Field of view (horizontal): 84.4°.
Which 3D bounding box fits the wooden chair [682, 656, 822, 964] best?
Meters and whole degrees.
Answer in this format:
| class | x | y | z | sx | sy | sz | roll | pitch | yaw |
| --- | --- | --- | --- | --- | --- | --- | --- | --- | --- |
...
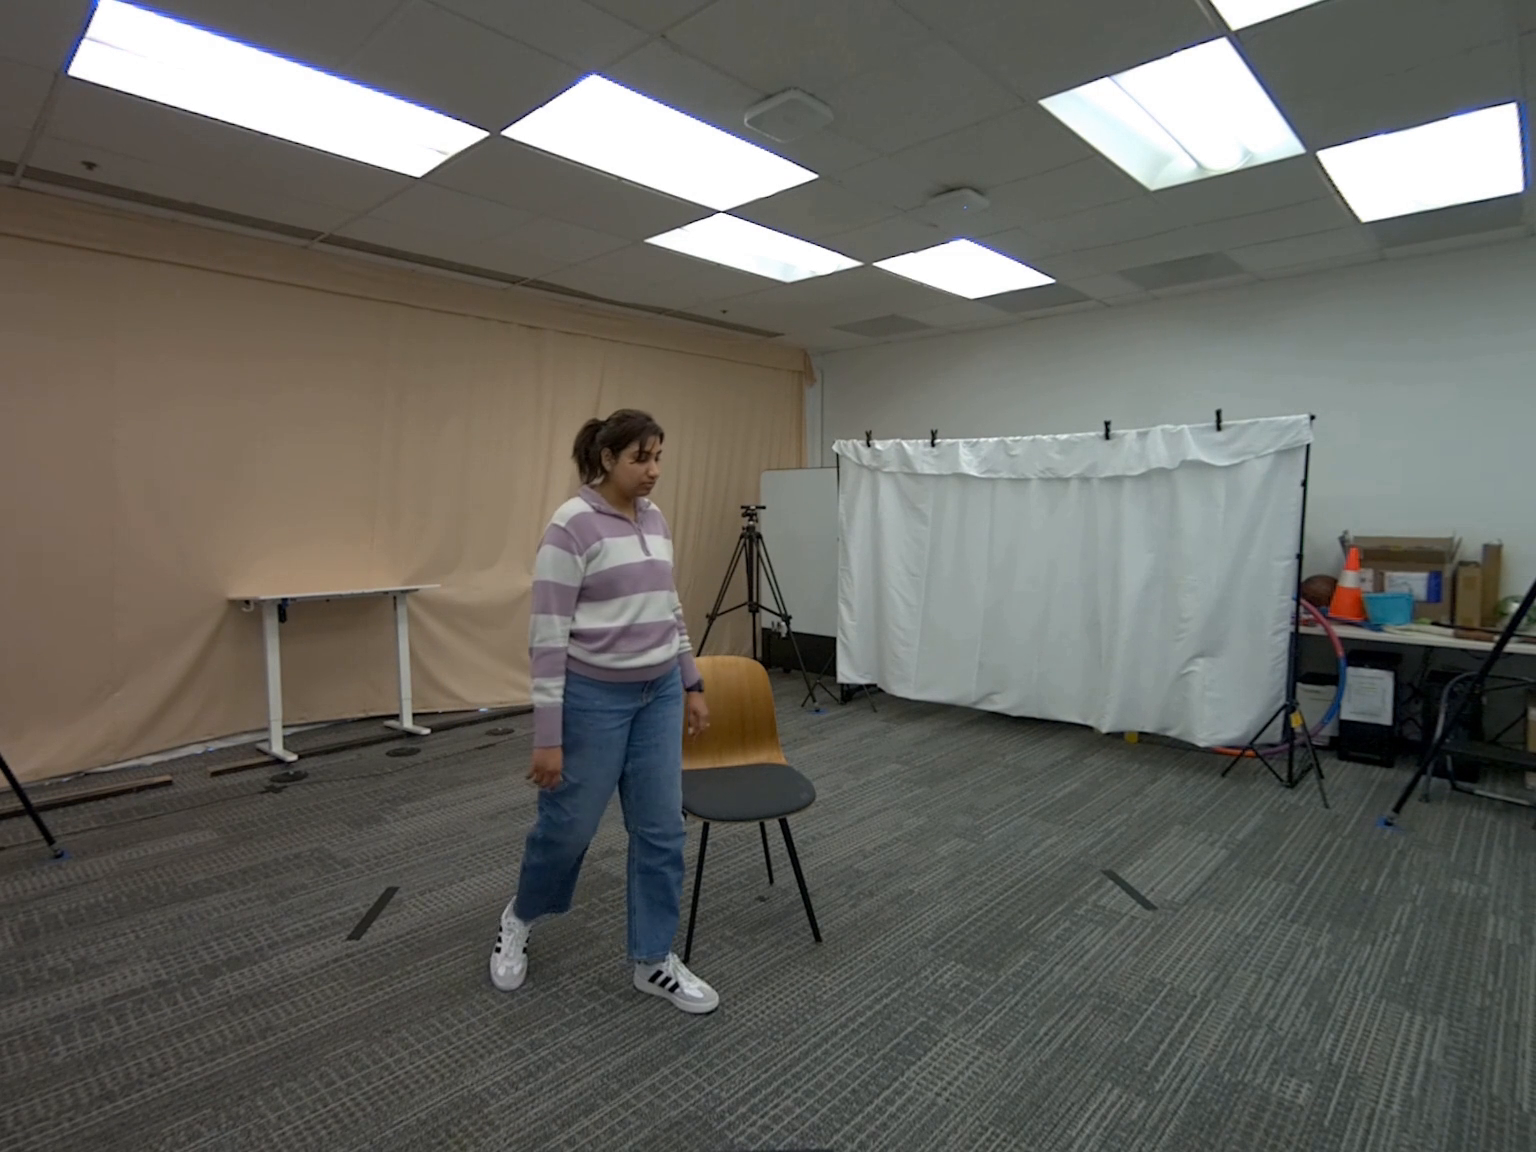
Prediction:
| class | x | y | z | sx | sy | sz | roll | pitch | yaw |
| --- | --- | --- | --- | --- | --- | --- | --- | --- | --- |
| wooden chair | -0.111 | 0.732 | 2.799 | 0.469 | 0.878 | 0.532 | -1 | -1 | -18 |
